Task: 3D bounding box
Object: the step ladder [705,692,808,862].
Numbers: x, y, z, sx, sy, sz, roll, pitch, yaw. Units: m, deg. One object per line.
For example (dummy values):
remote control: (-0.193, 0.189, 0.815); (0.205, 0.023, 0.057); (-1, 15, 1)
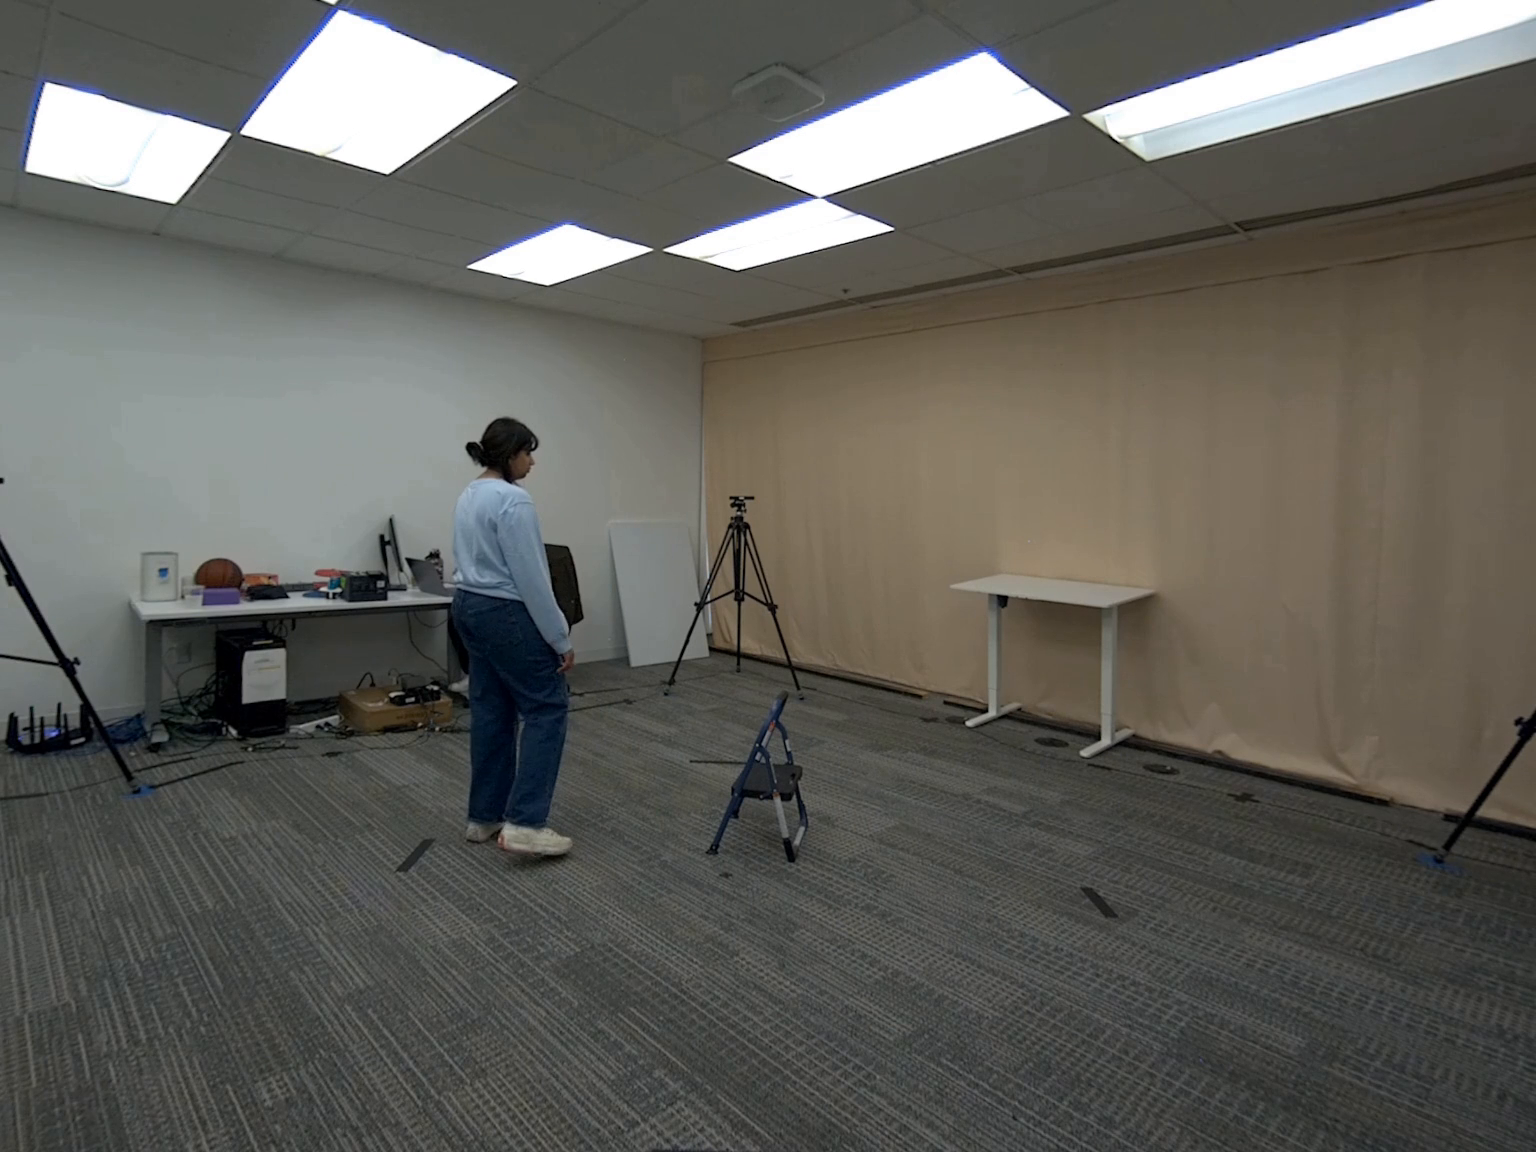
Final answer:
step ladder: (-0.029, 0.774, 3.442); (0.353, 0.605, 0.427); (2, 3, 11)
